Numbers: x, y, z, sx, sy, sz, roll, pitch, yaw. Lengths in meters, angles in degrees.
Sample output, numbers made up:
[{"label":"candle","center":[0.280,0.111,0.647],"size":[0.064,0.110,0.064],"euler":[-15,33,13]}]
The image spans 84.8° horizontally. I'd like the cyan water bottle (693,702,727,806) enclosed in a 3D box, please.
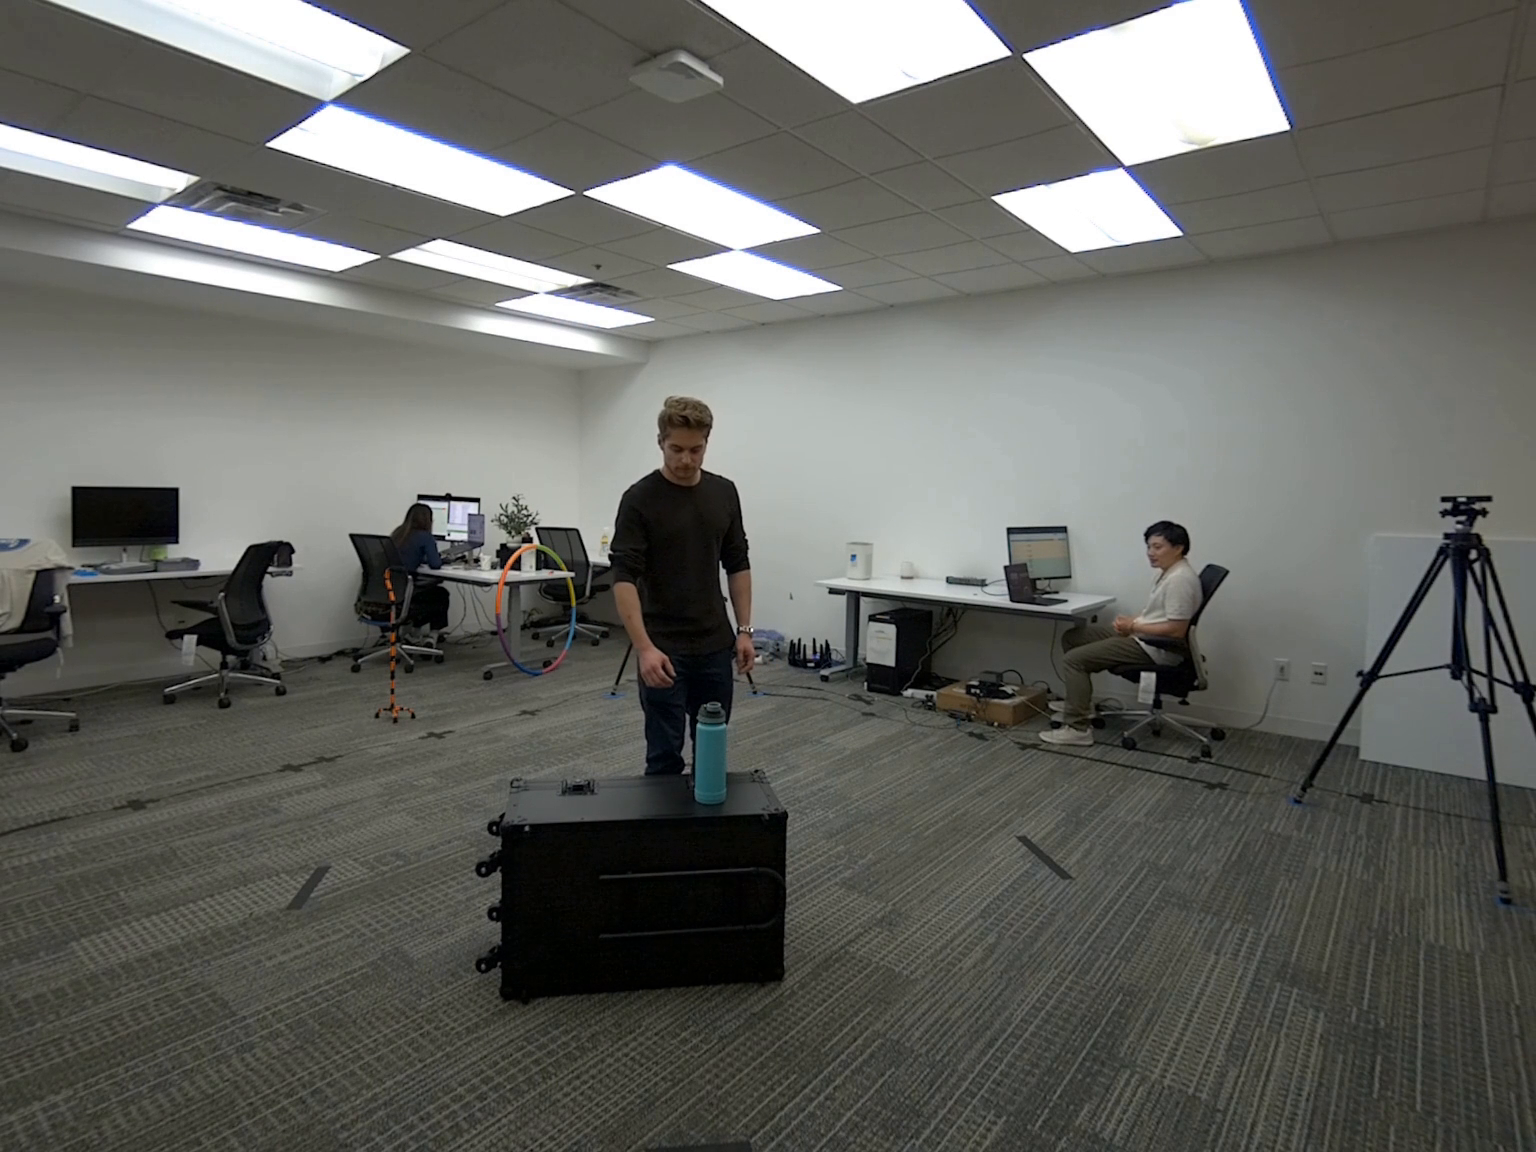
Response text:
[{"label":"cyan water bottle","center":[-0.178,0.504,2.470],"size":[0.092,0.282,0.093],"euler":[-1,4,-2]}]
